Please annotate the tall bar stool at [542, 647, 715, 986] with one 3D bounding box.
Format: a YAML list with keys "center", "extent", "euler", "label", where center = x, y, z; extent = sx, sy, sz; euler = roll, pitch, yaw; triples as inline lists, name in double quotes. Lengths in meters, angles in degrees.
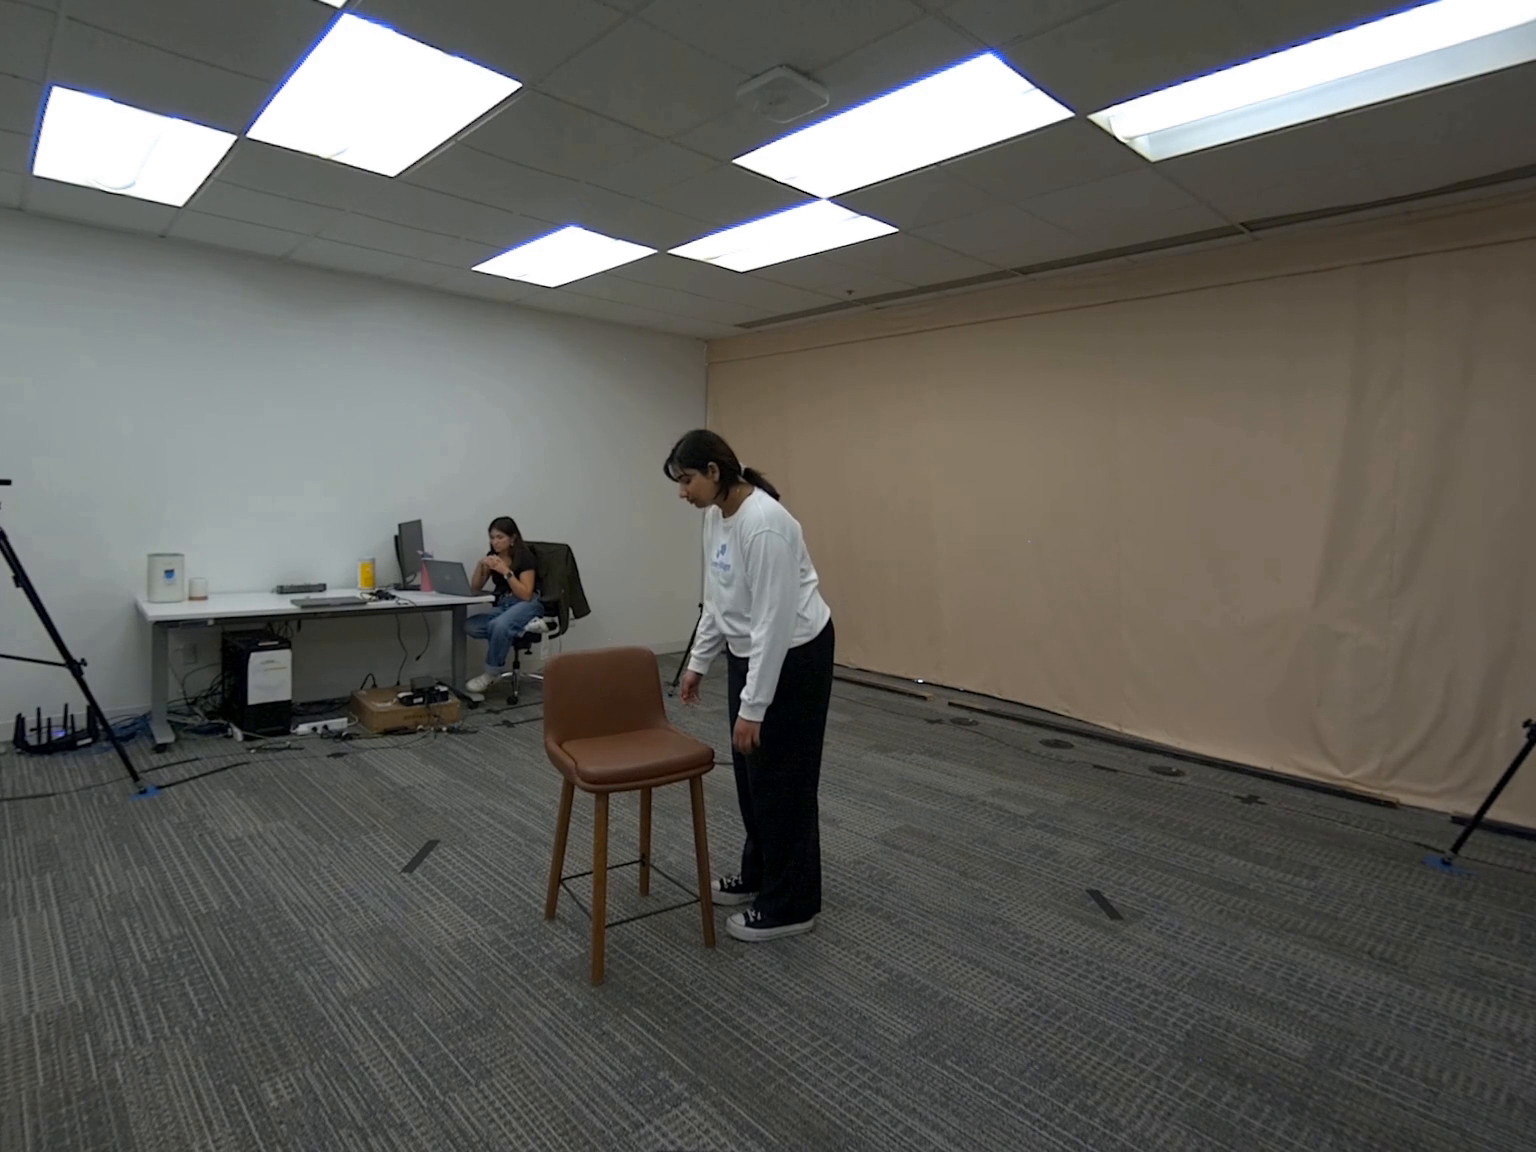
- center: [-0.452, 0.709, 2.661]
  extent: [0.446, 0.889, 0.478]
  euler: [-1, 2, -34]
  label: "tall bar stool"
